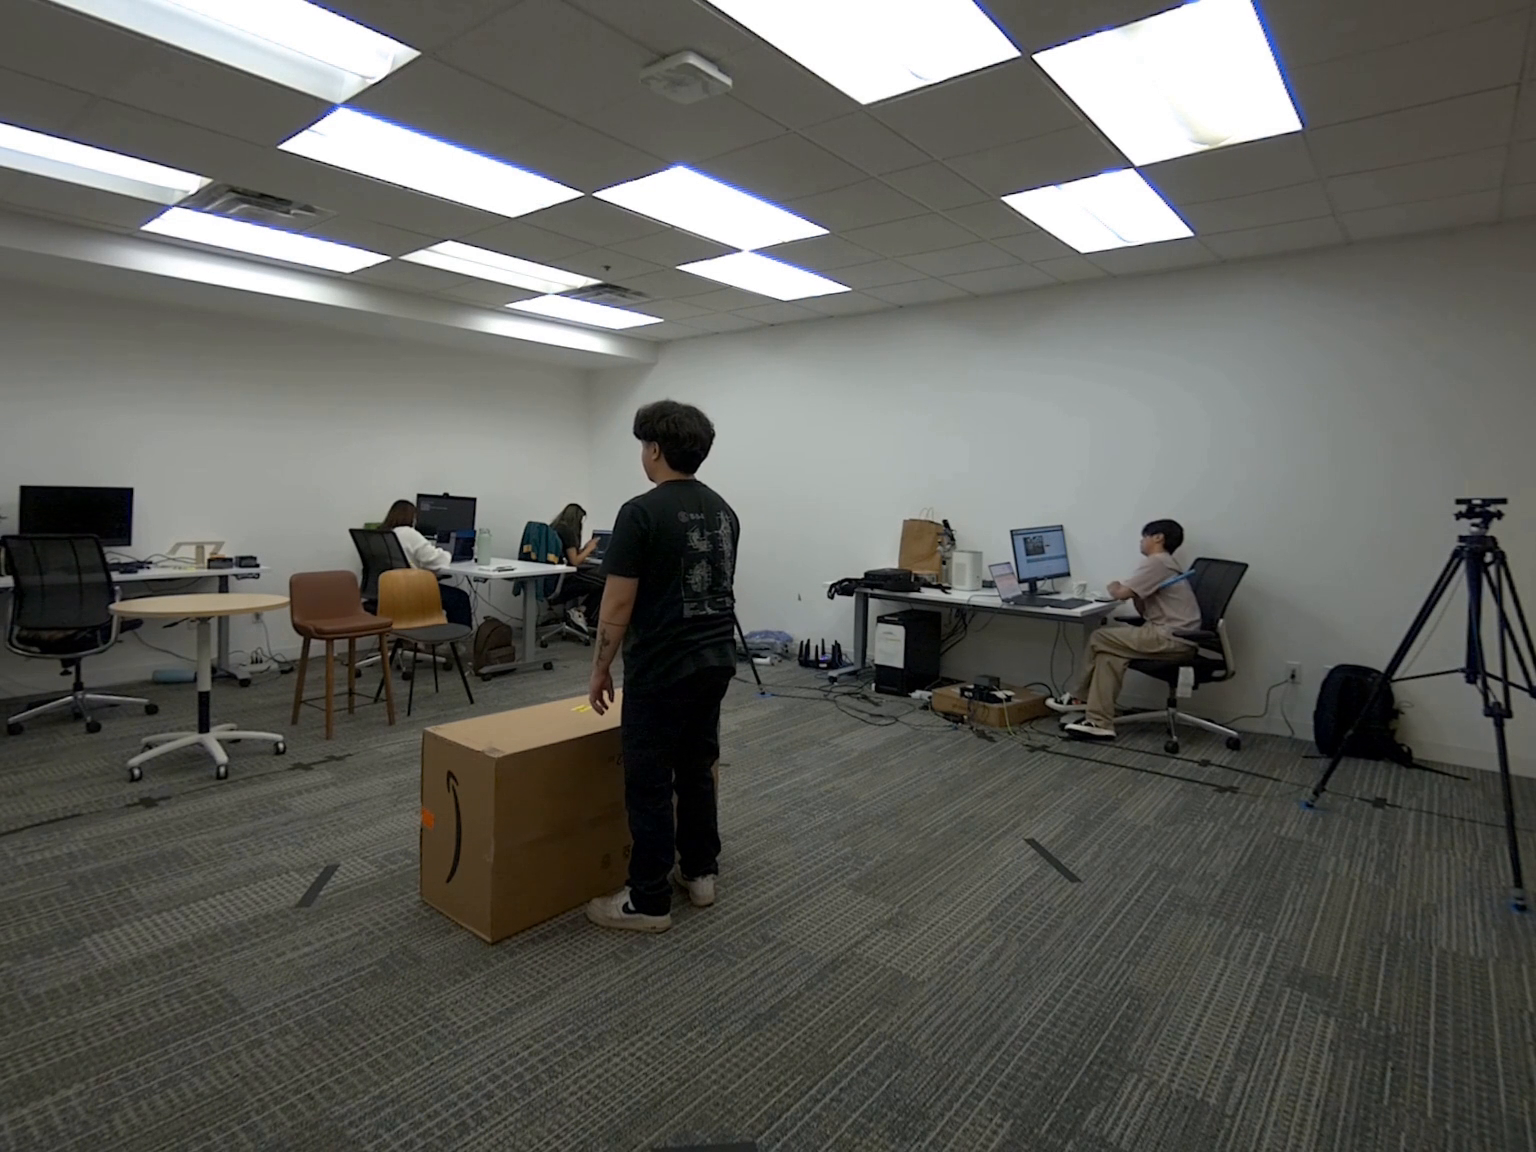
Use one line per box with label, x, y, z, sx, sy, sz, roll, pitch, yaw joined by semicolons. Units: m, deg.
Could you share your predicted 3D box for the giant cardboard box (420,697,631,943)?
giant cardboard box;-0.690;0.781;3.072;0.461;0.582;0.996;3;4;39
